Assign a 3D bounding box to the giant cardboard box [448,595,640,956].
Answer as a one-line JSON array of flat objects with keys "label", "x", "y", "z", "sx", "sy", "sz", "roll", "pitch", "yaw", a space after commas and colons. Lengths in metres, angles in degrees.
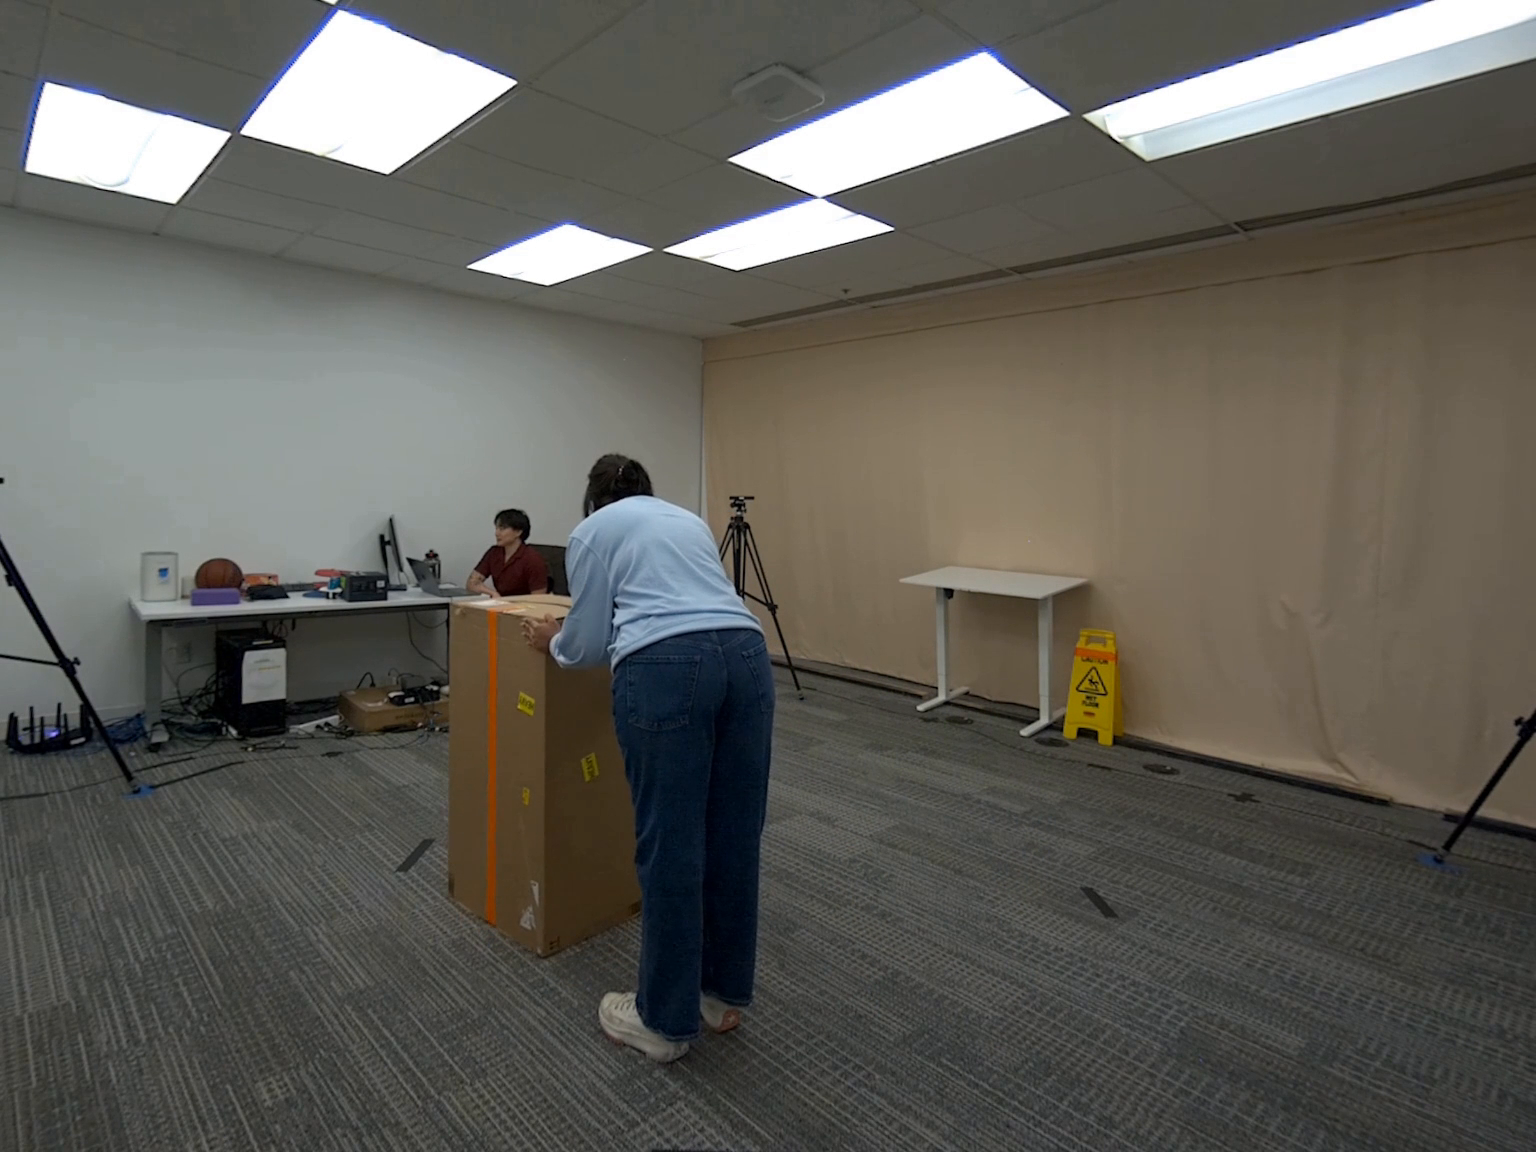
[{"label": "giant cardboard box", "x": -0.755, "y": 0.611, "z": 2.839, "sx": 0.592, "sy": 1.024, "sz": 0.416, "roll": 4, "pitch": 4, "yaw": 42}]
